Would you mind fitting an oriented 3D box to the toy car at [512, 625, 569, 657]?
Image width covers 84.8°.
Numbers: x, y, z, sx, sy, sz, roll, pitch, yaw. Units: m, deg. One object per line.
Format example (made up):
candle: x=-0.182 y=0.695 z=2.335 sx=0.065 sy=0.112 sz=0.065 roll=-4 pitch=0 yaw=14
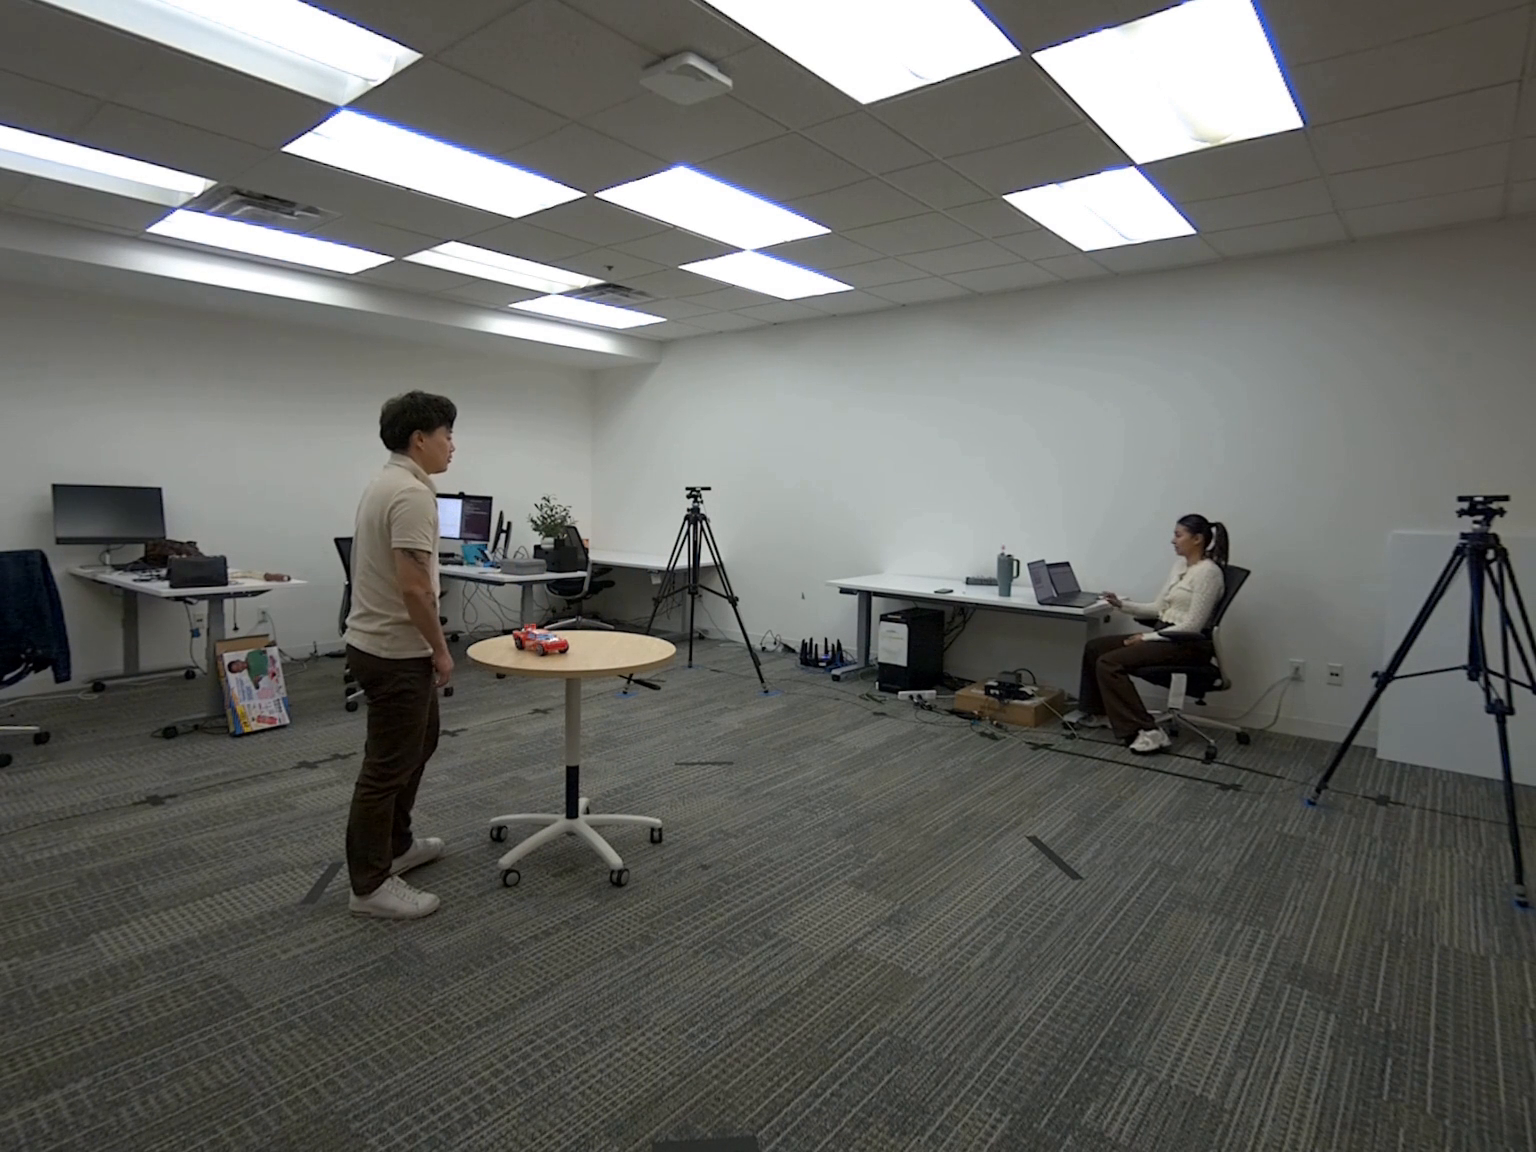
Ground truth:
toy car: x=-0.856 y=0.241 z=3.130 sx=0.126 sy=0.082 sz=0.265 roll=-4 pitch=18 yaw=-45
